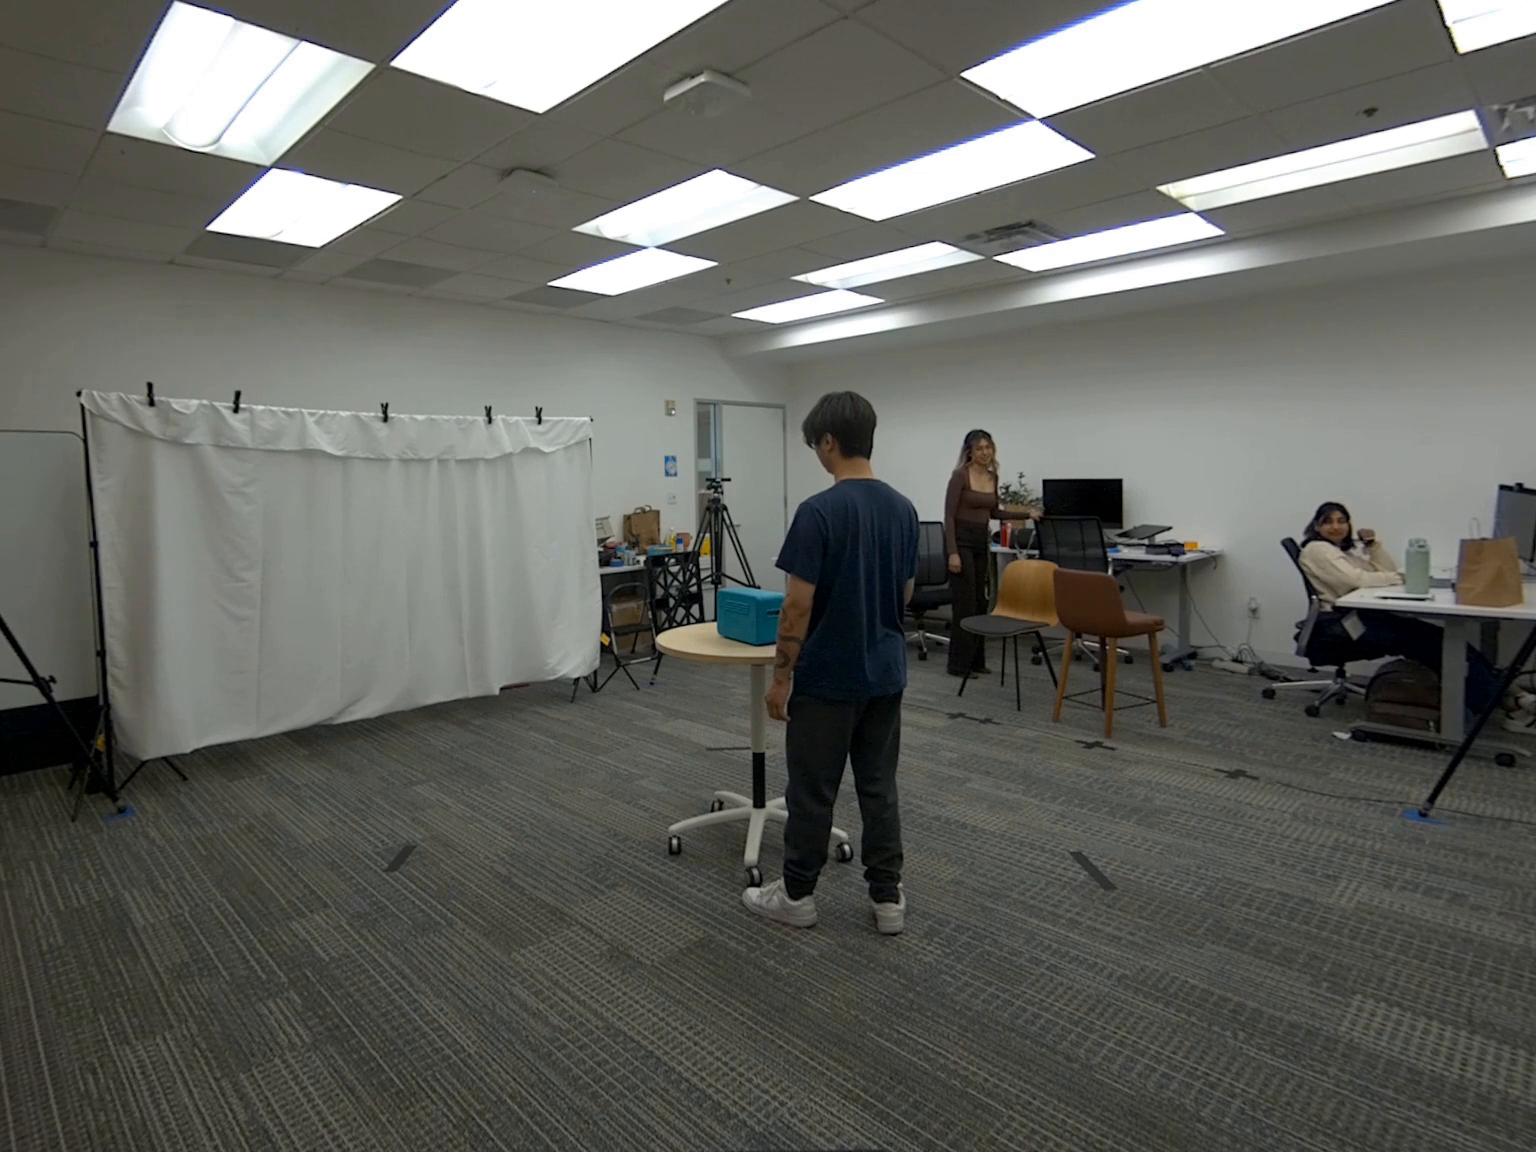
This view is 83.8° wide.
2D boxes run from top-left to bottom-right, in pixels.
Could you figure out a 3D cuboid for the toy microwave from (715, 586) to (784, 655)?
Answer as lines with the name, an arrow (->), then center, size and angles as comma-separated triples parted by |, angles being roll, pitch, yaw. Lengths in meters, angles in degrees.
toy microwave -> -0.060, 0.145, 3.161 | 0.149, 0.183, 0.294 | -4, 6, -33
